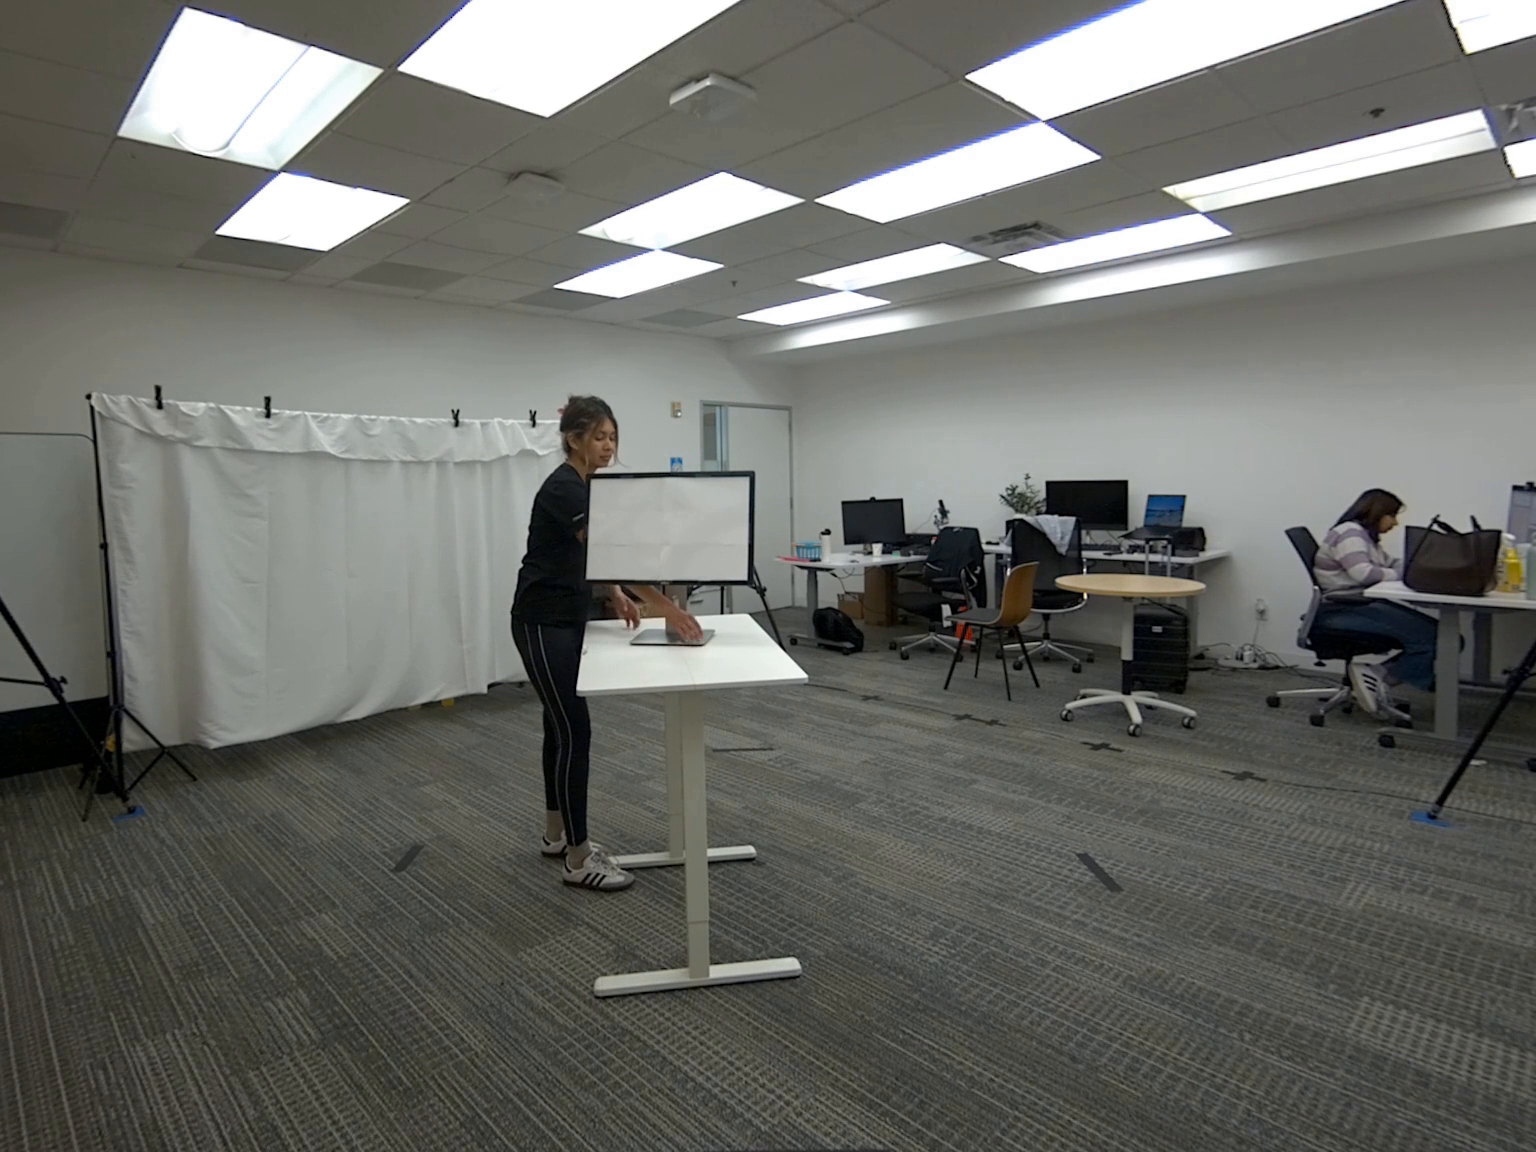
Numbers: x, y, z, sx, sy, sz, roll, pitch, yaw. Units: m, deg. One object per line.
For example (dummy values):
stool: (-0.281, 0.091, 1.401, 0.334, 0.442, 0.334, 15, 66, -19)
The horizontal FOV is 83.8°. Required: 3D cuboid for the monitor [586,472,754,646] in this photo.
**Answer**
monitor: (-0.306, -0.060, 2.761, 0.544, 0.521, 0.186, 0, 3, 9)
